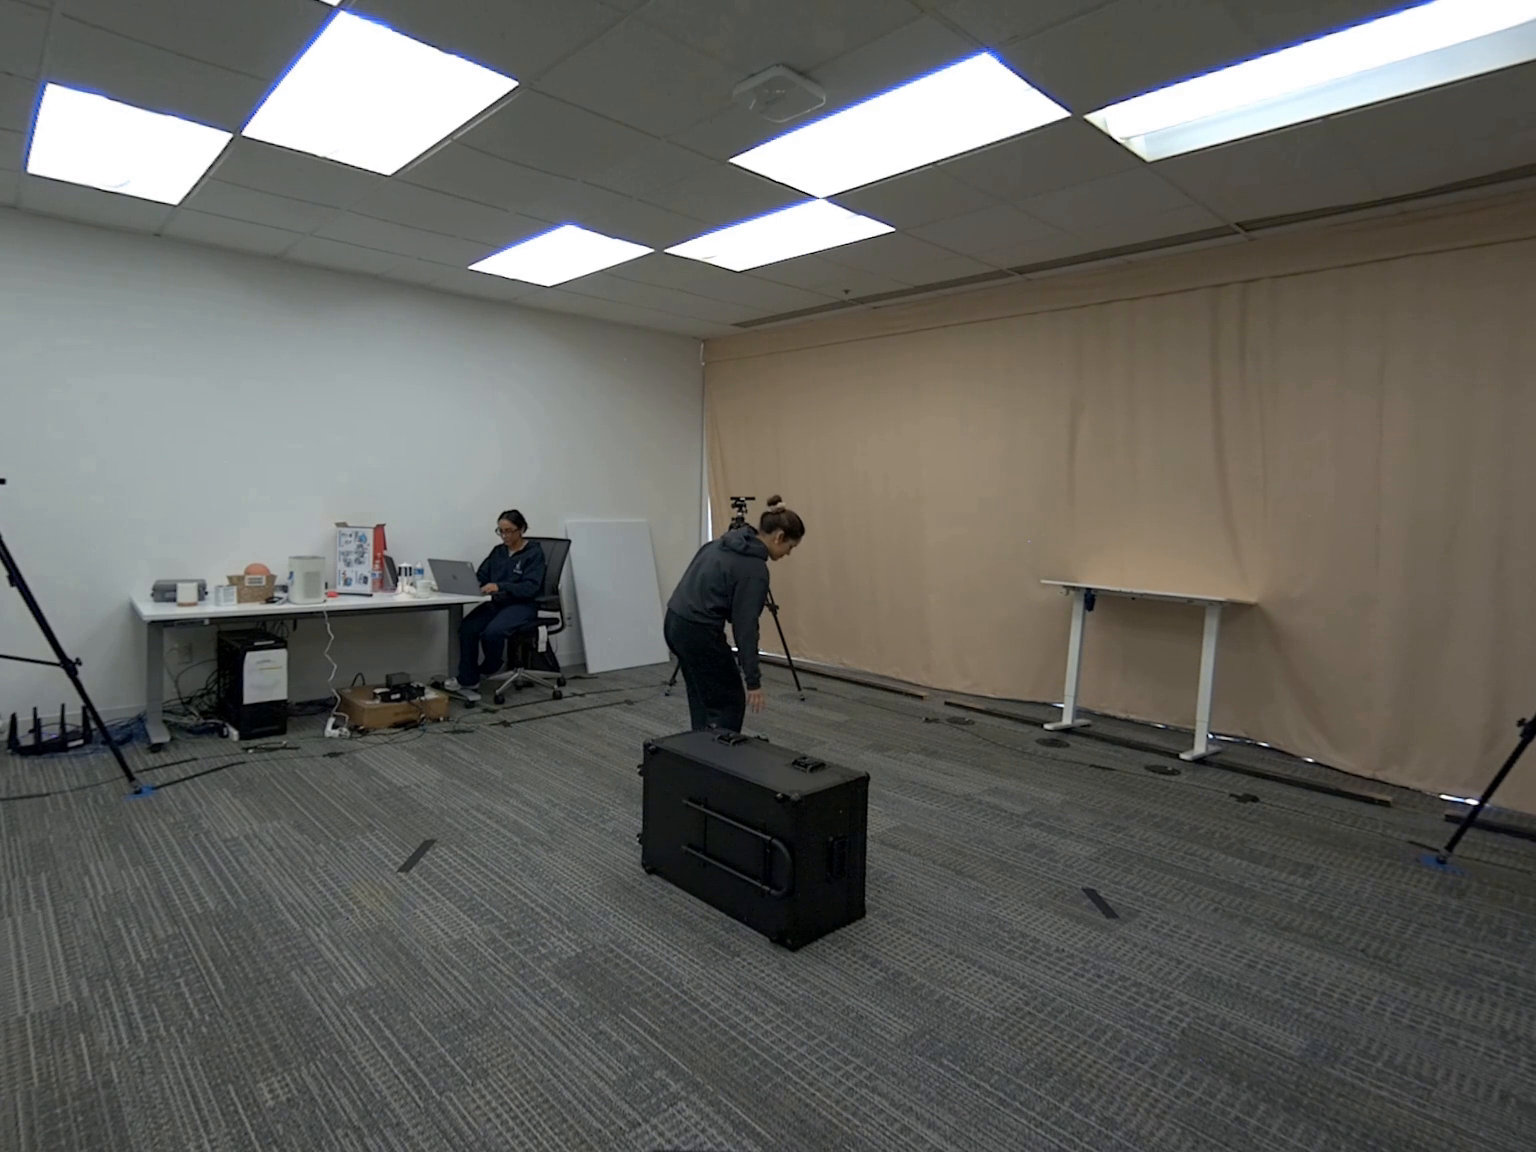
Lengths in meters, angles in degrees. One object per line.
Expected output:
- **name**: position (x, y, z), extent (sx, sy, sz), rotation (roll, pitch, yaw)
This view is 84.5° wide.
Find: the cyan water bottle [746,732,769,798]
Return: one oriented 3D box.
- **cyan water bottle**: position (-0.054, 0.893, 4.017), extent (0.092, 0.283, 0.092), rotation (2, 2, -1)
